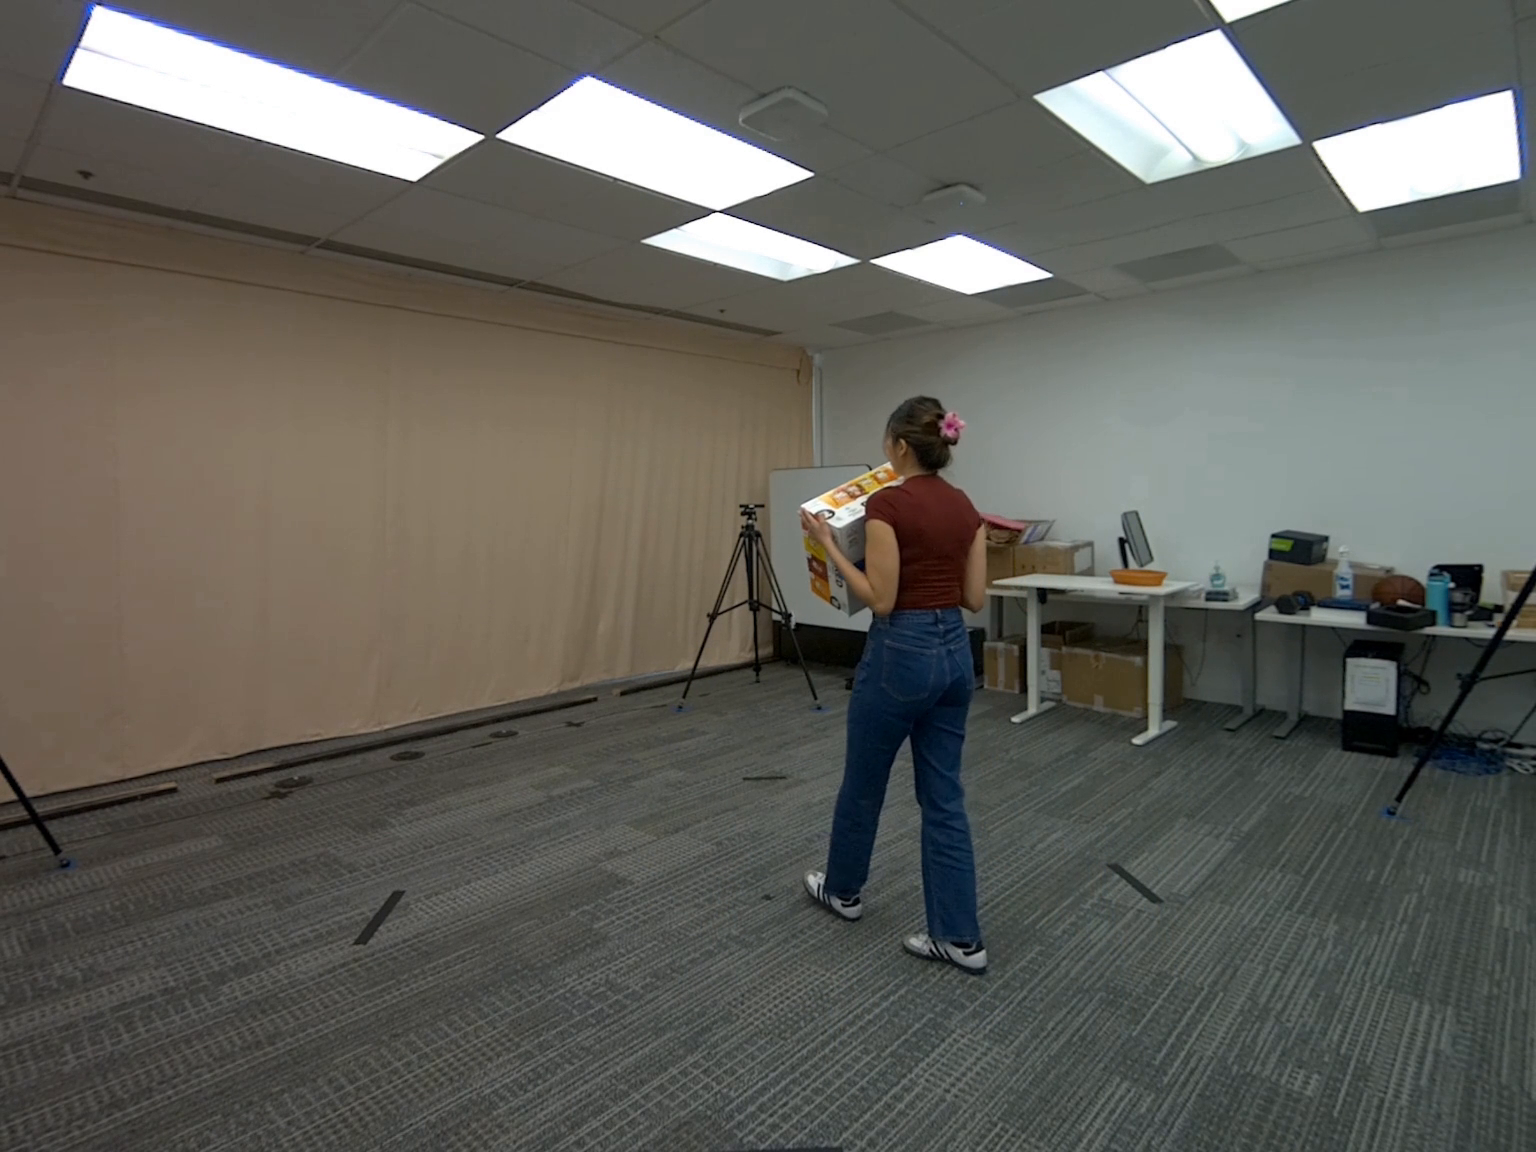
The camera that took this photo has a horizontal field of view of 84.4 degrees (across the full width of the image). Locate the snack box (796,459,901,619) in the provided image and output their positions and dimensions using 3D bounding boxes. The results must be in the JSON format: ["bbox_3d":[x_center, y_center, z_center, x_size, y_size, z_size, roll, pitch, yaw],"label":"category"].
[{"bbox_3d":[0.338,-0.134,2.743,0.400,0.332,0.213,-27,36,-21],"label":"snack box"}]
